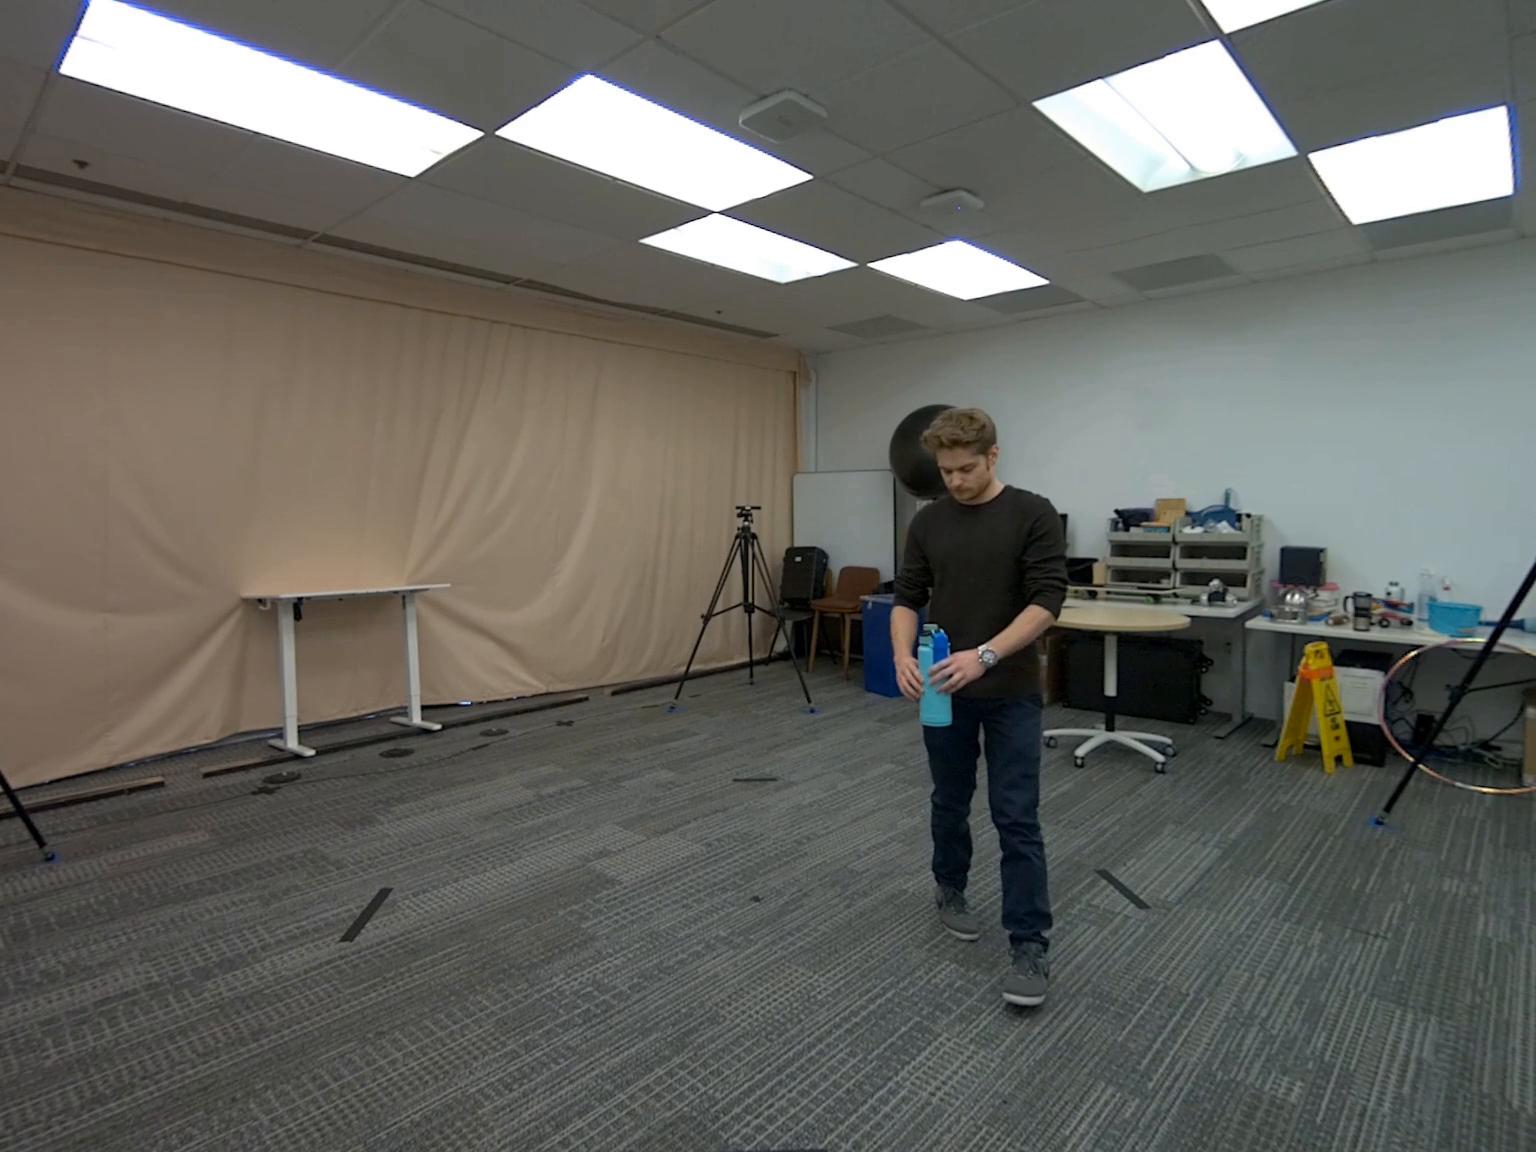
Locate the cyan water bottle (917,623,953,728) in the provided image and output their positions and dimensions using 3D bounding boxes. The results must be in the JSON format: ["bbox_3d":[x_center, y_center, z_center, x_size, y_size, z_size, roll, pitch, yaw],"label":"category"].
[{"bbox_3d":[0.498,0.288,2.434,0.092,0.282,0.093,0,5,-2],"label":"cyan water bottle"}]
